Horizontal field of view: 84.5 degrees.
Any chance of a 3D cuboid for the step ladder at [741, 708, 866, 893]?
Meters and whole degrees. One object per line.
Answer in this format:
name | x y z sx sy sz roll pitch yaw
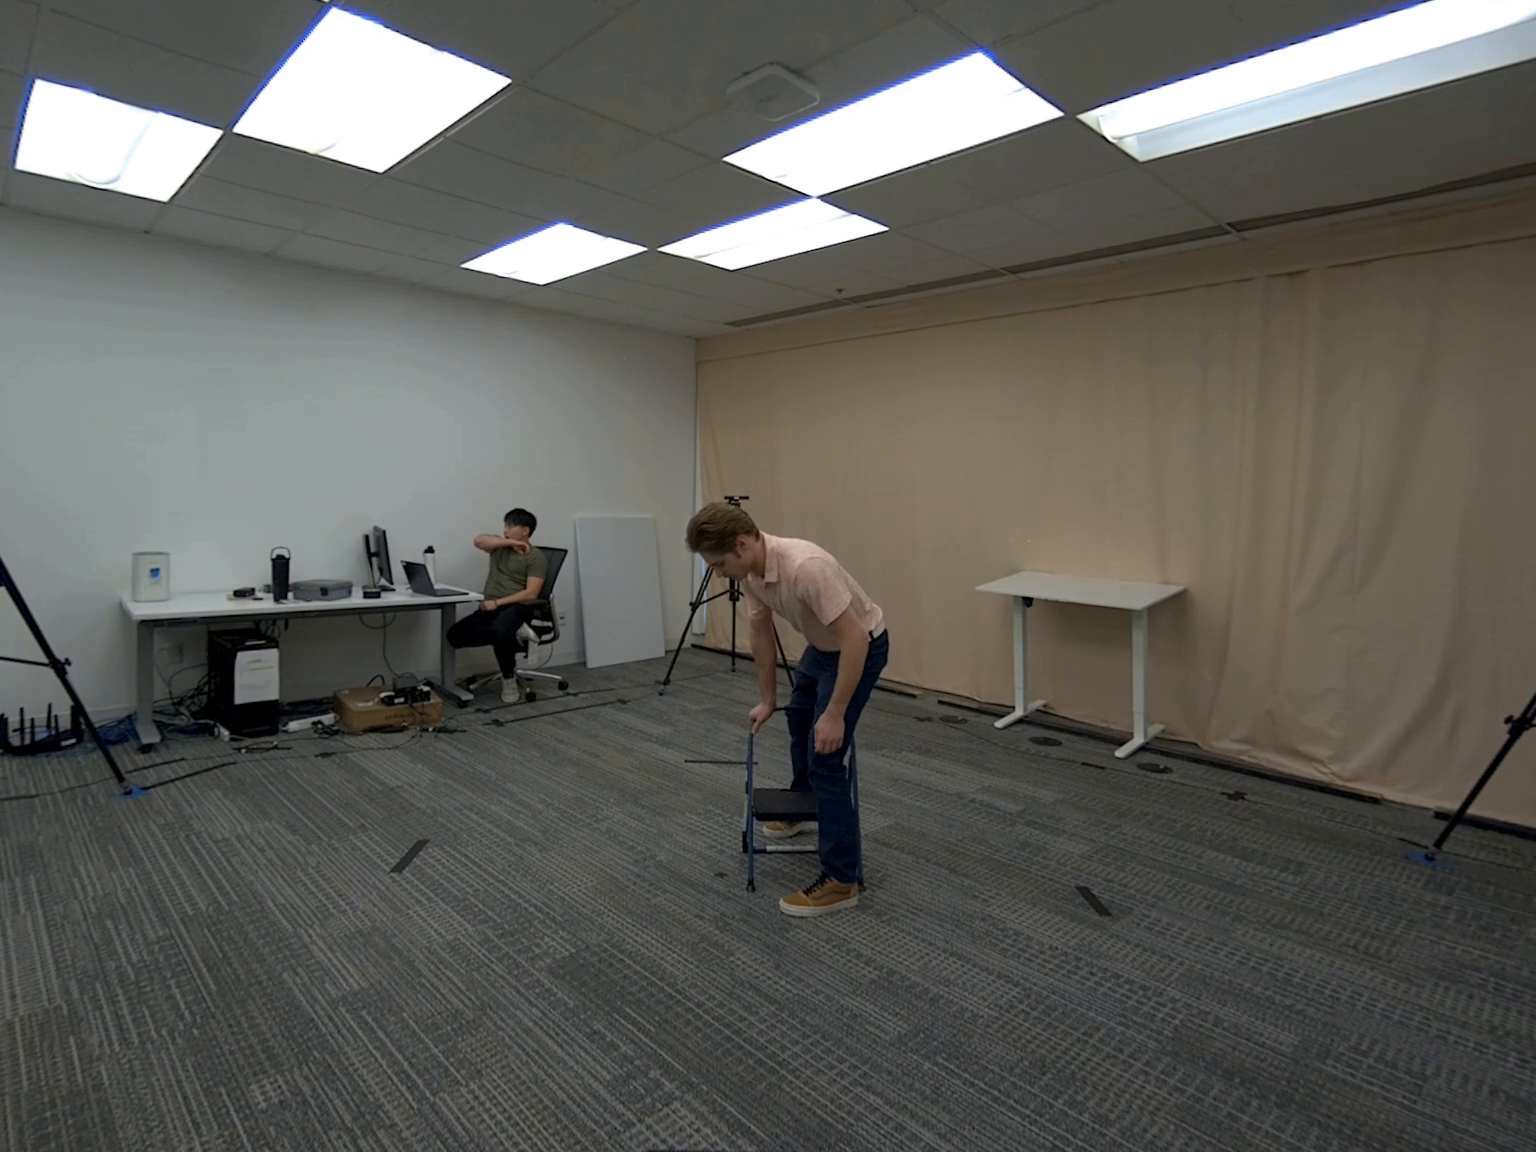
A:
step ladder | 0.122 0.808 3.147 0.429 0.604 0.352 2 4 -5
